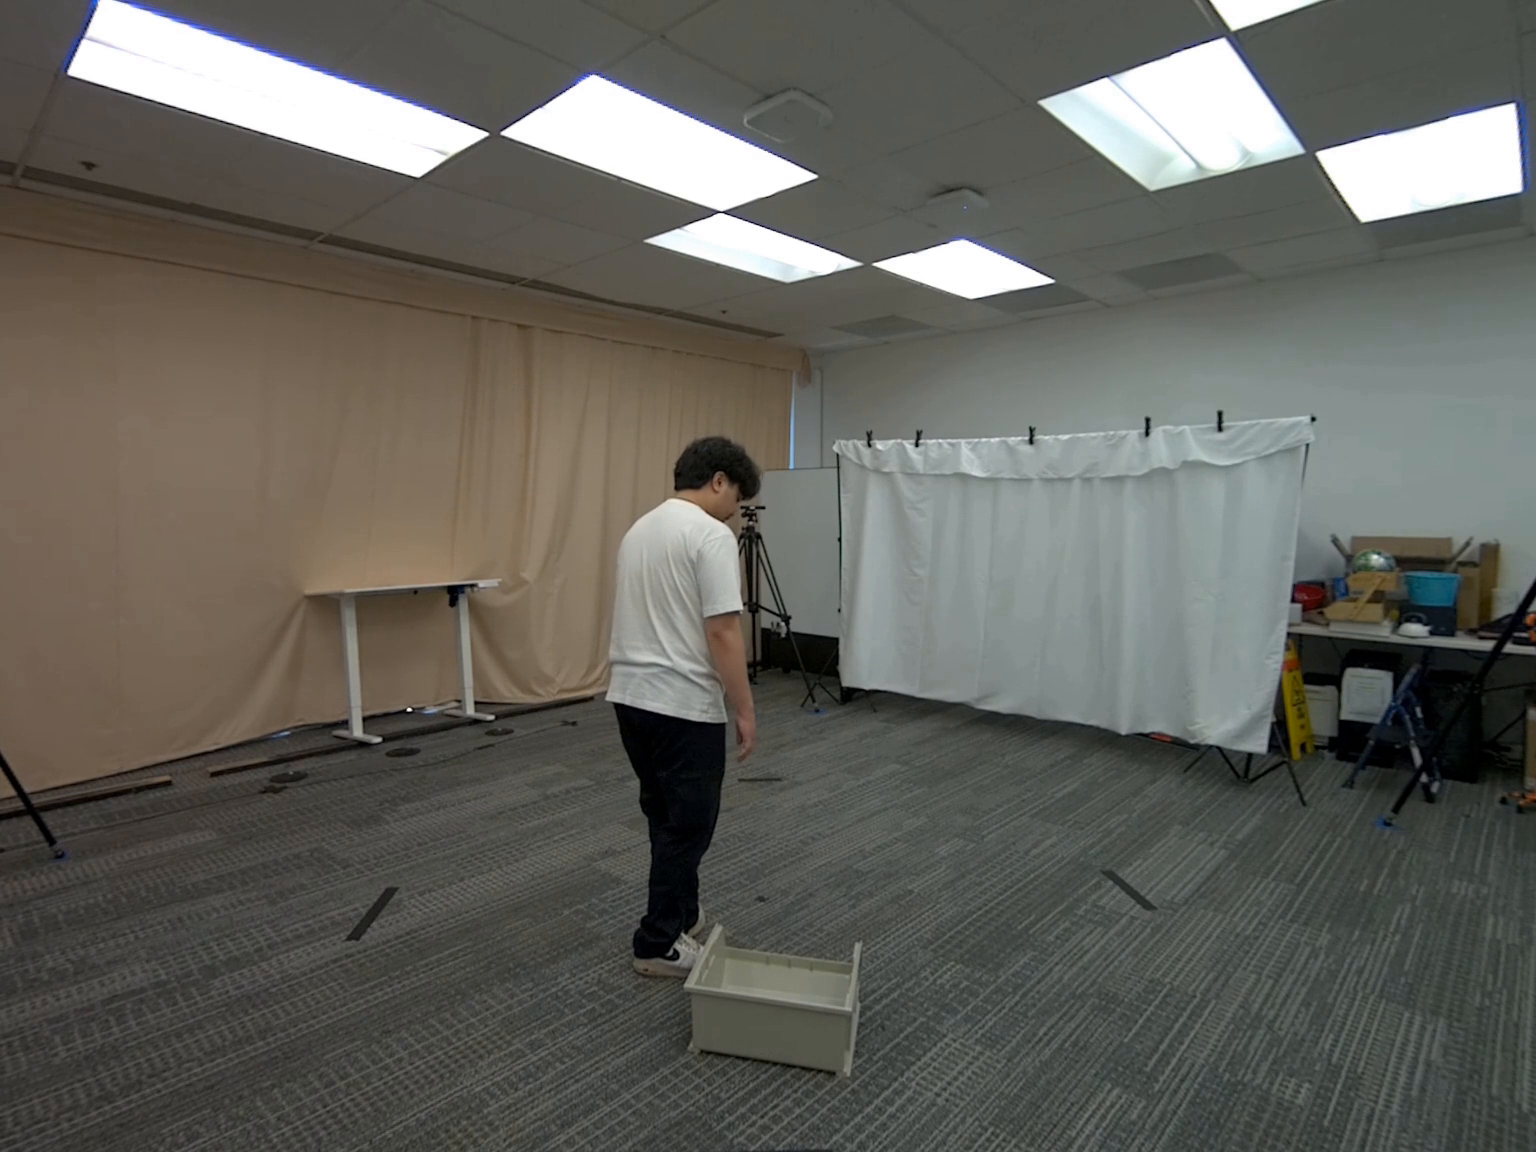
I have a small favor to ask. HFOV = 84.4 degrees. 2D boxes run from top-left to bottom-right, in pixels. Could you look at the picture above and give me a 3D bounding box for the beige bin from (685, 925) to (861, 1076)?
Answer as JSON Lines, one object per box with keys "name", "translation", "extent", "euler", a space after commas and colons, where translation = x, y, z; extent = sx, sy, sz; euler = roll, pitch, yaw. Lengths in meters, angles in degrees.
{"name": "beige bin", "translation": [0.034, 1.119, 2.256], "extent": [0.428, 0.188, 0.373], "euler": [1, 5, 13]}
